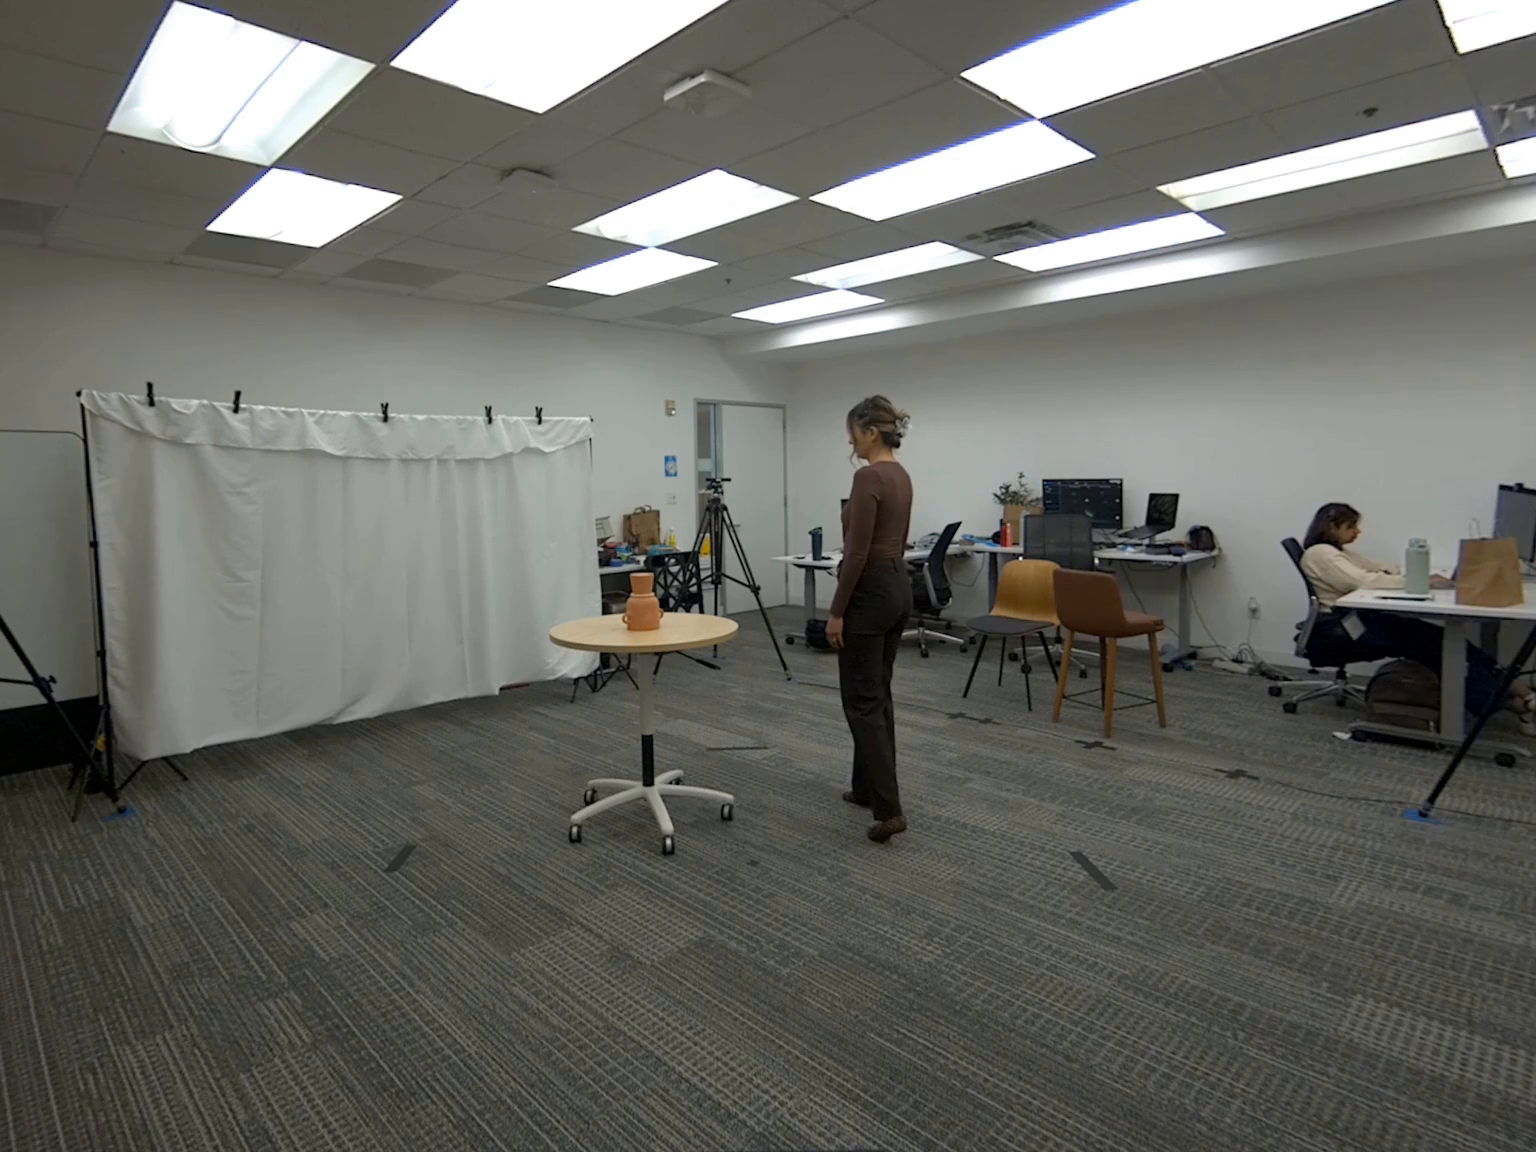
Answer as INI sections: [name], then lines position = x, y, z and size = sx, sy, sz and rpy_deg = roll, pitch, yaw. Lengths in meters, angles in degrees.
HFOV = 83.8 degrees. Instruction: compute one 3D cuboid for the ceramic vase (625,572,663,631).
[ceramic vase]
position = -0.503, 0.102, 3.461
size = 0.136, 0.219, 0.158
rpy_deg = -1, 5, 9
